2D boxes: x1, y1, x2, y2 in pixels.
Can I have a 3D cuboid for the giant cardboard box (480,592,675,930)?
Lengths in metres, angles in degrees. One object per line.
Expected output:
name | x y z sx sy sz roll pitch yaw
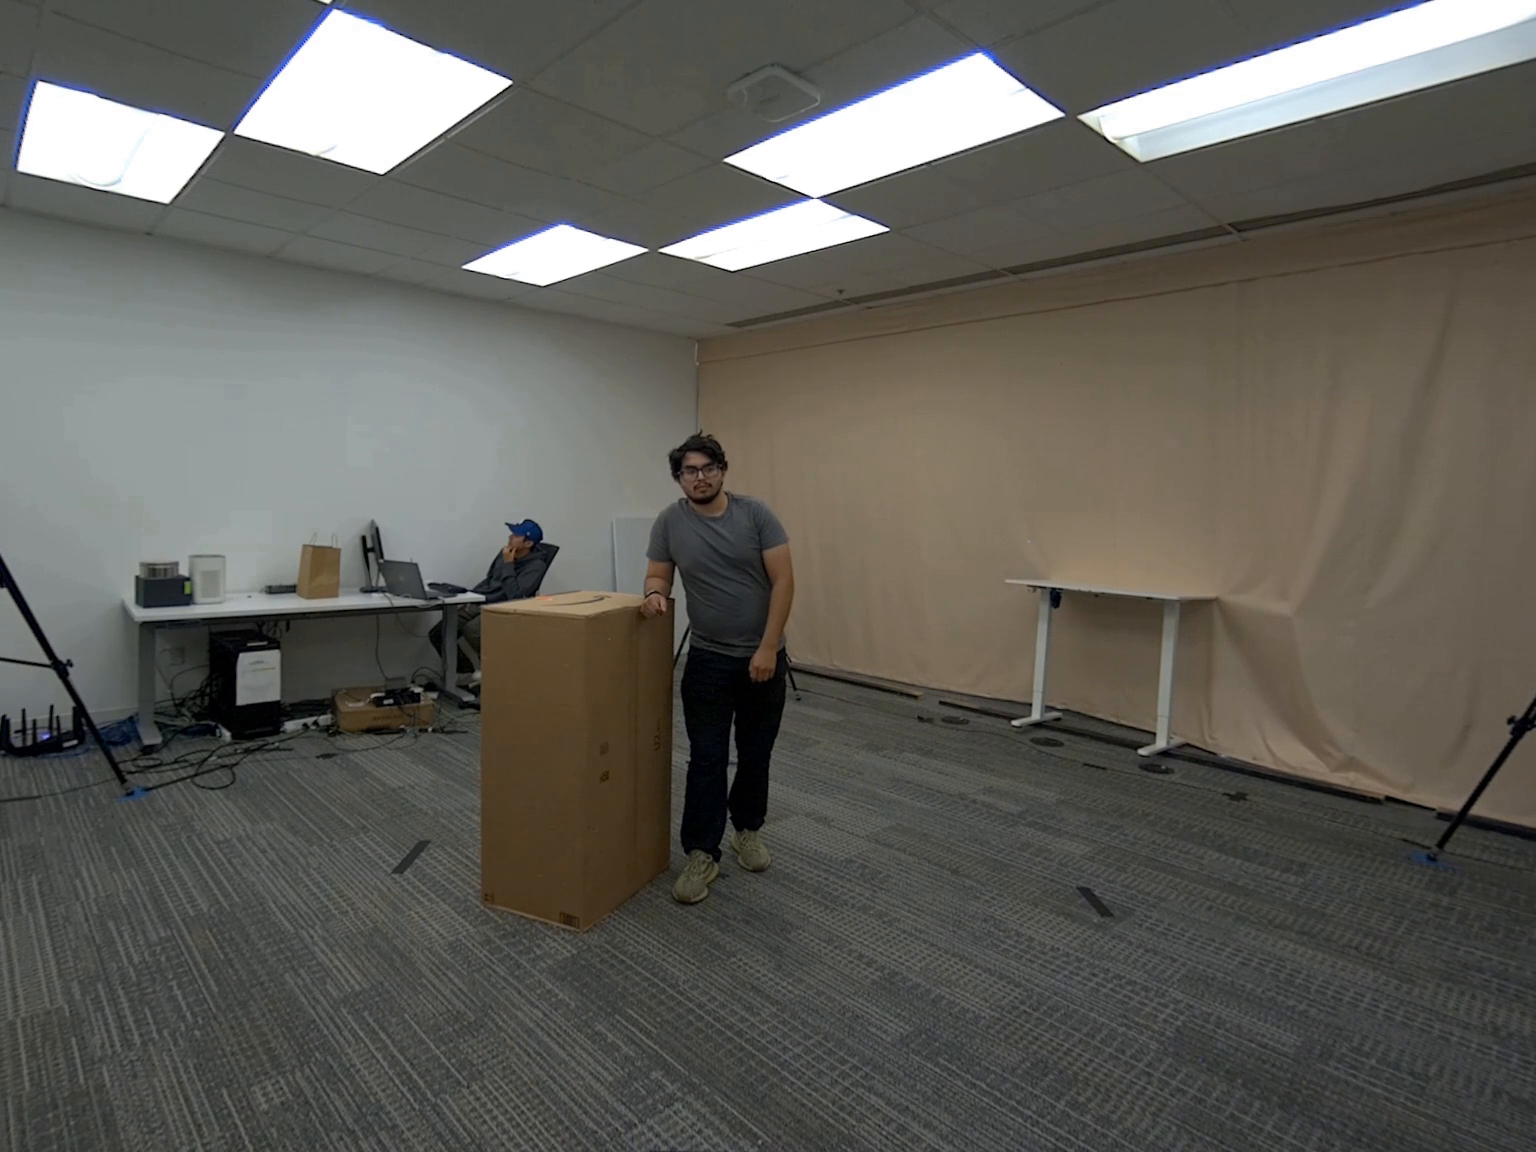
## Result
giant cardboard box | -0.667 0.600 2.984 0.435 1.023 0.567 3 4 26
